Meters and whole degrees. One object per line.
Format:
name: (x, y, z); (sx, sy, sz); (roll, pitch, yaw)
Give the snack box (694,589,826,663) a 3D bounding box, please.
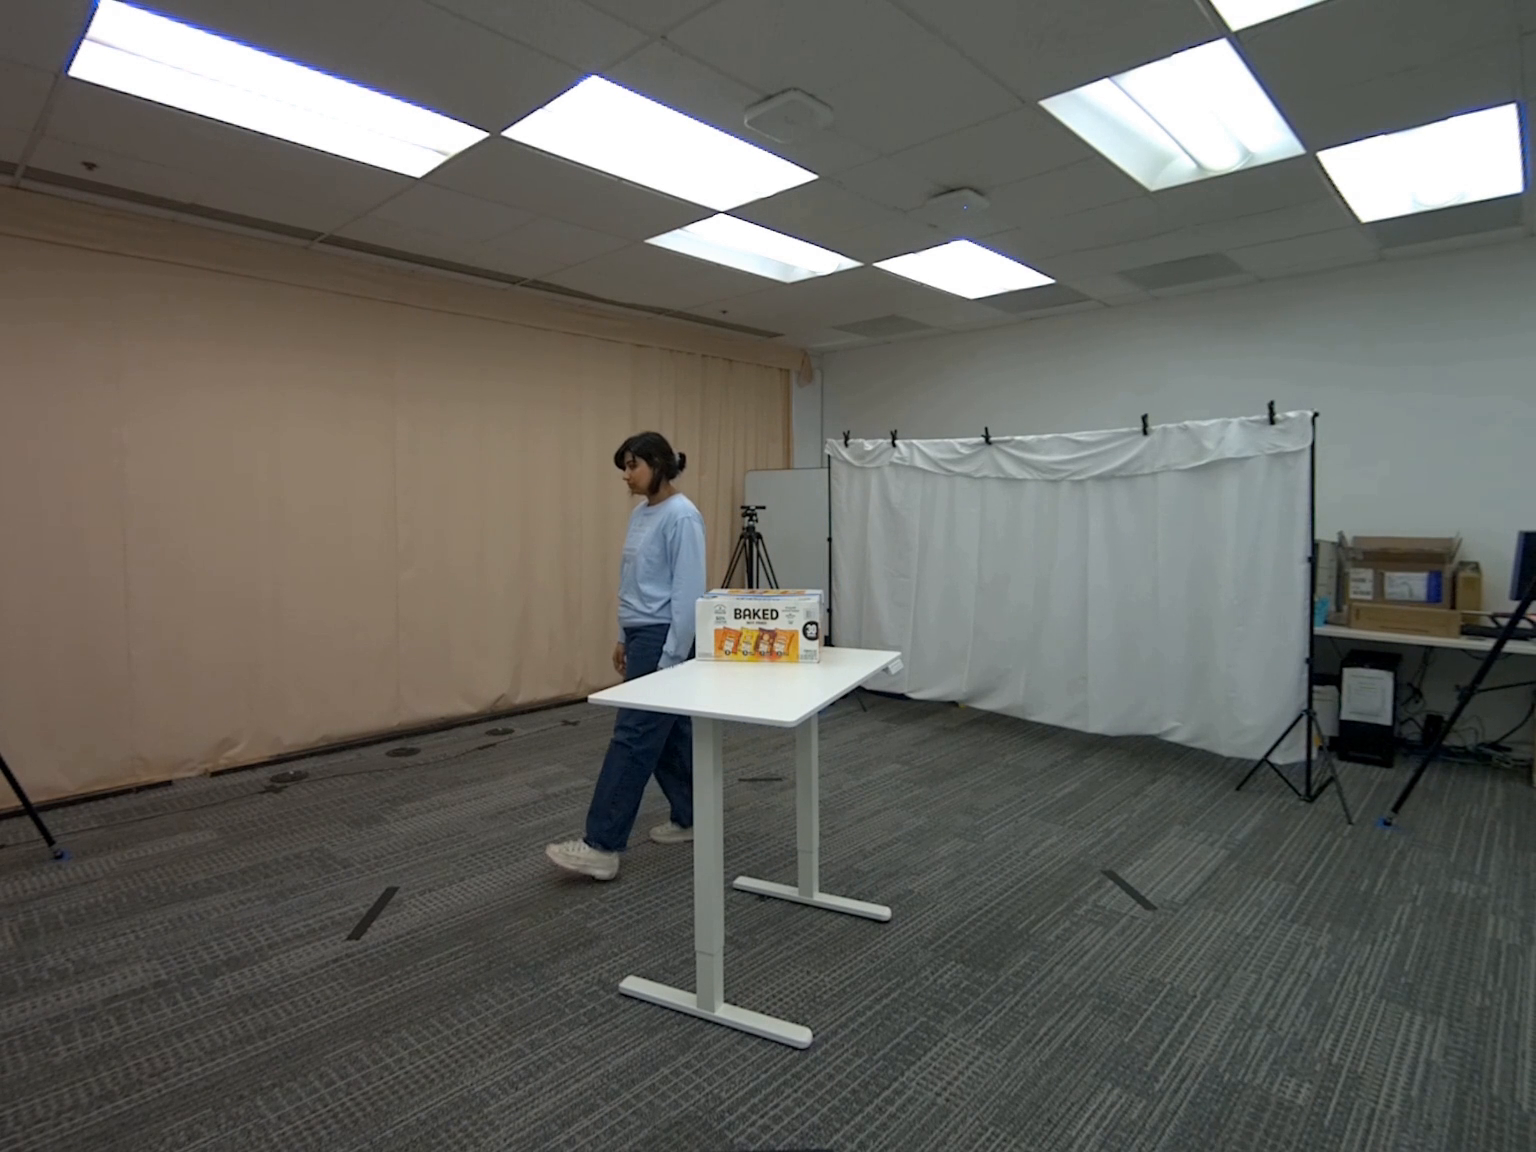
snack box: (-0.014, 0.165, 2.907); (0.409, 0.205, 0.338); (0, 4, 8)
